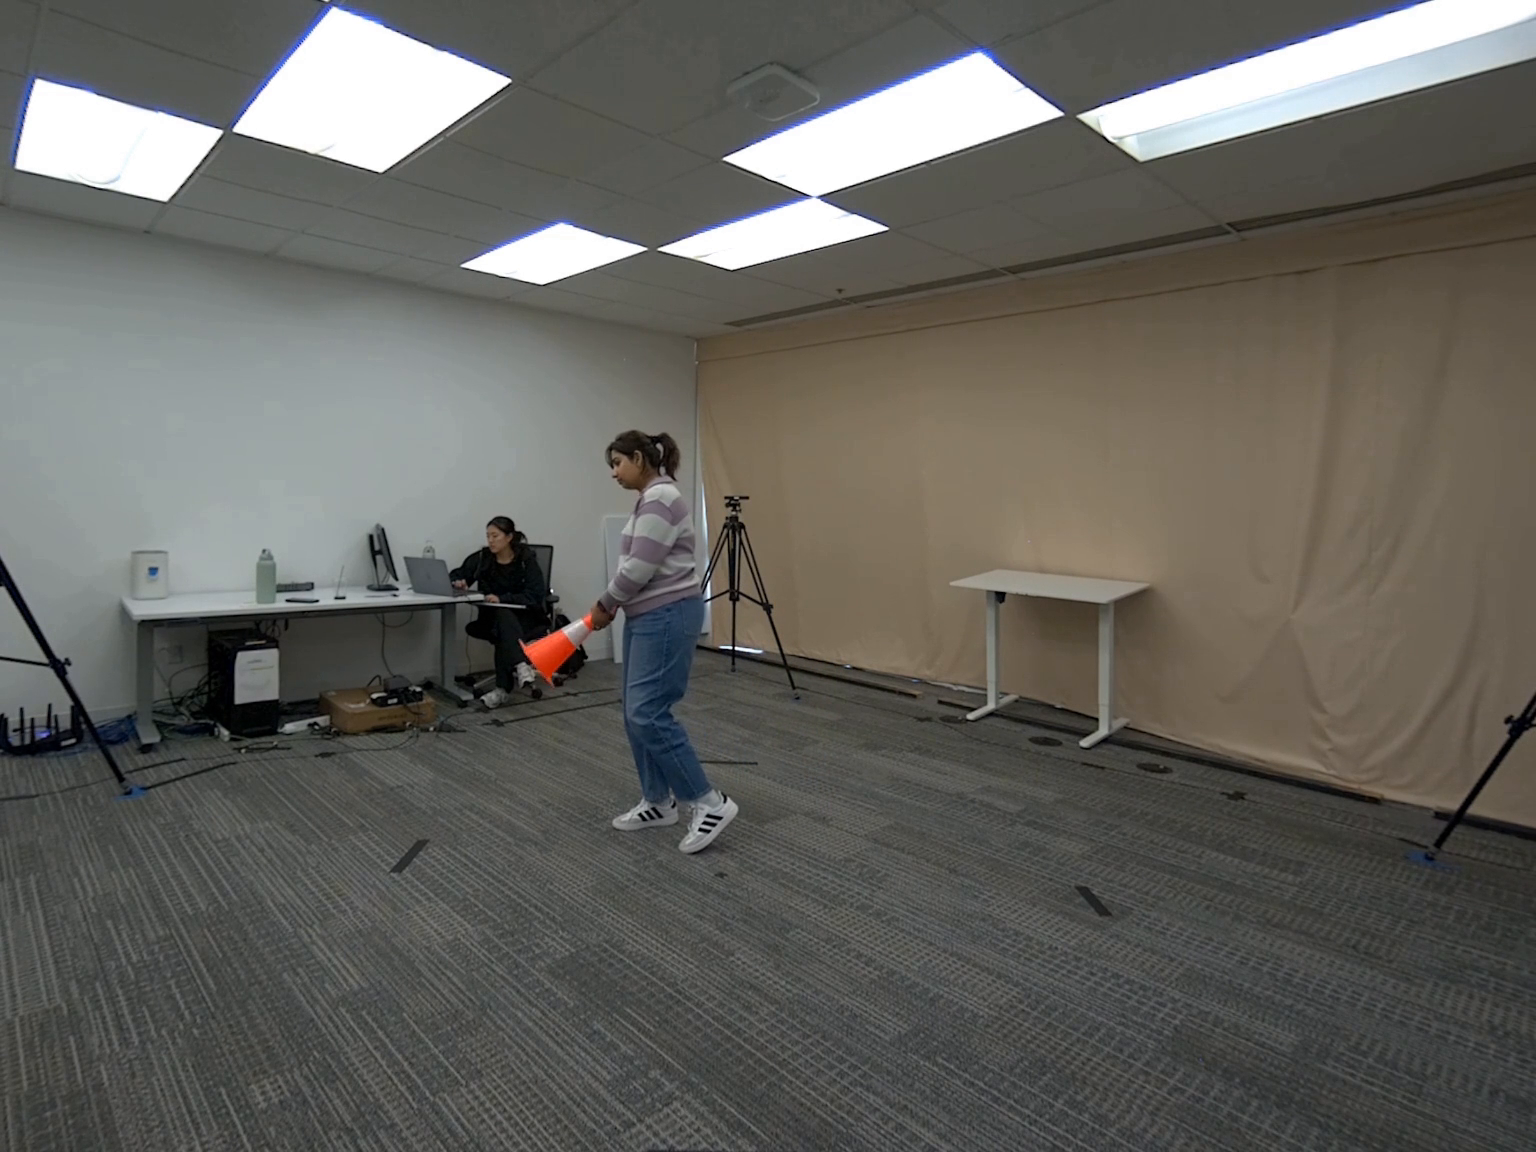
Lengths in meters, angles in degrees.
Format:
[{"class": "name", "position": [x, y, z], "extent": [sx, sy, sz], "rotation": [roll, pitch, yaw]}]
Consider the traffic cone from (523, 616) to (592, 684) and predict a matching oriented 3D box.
[{"class": "traffic cone", "position": [-0.800, 0.242, 3.509], "extent": [0.383, 0.200, 0.208], "rotation": [-36, 17, -3]}]
